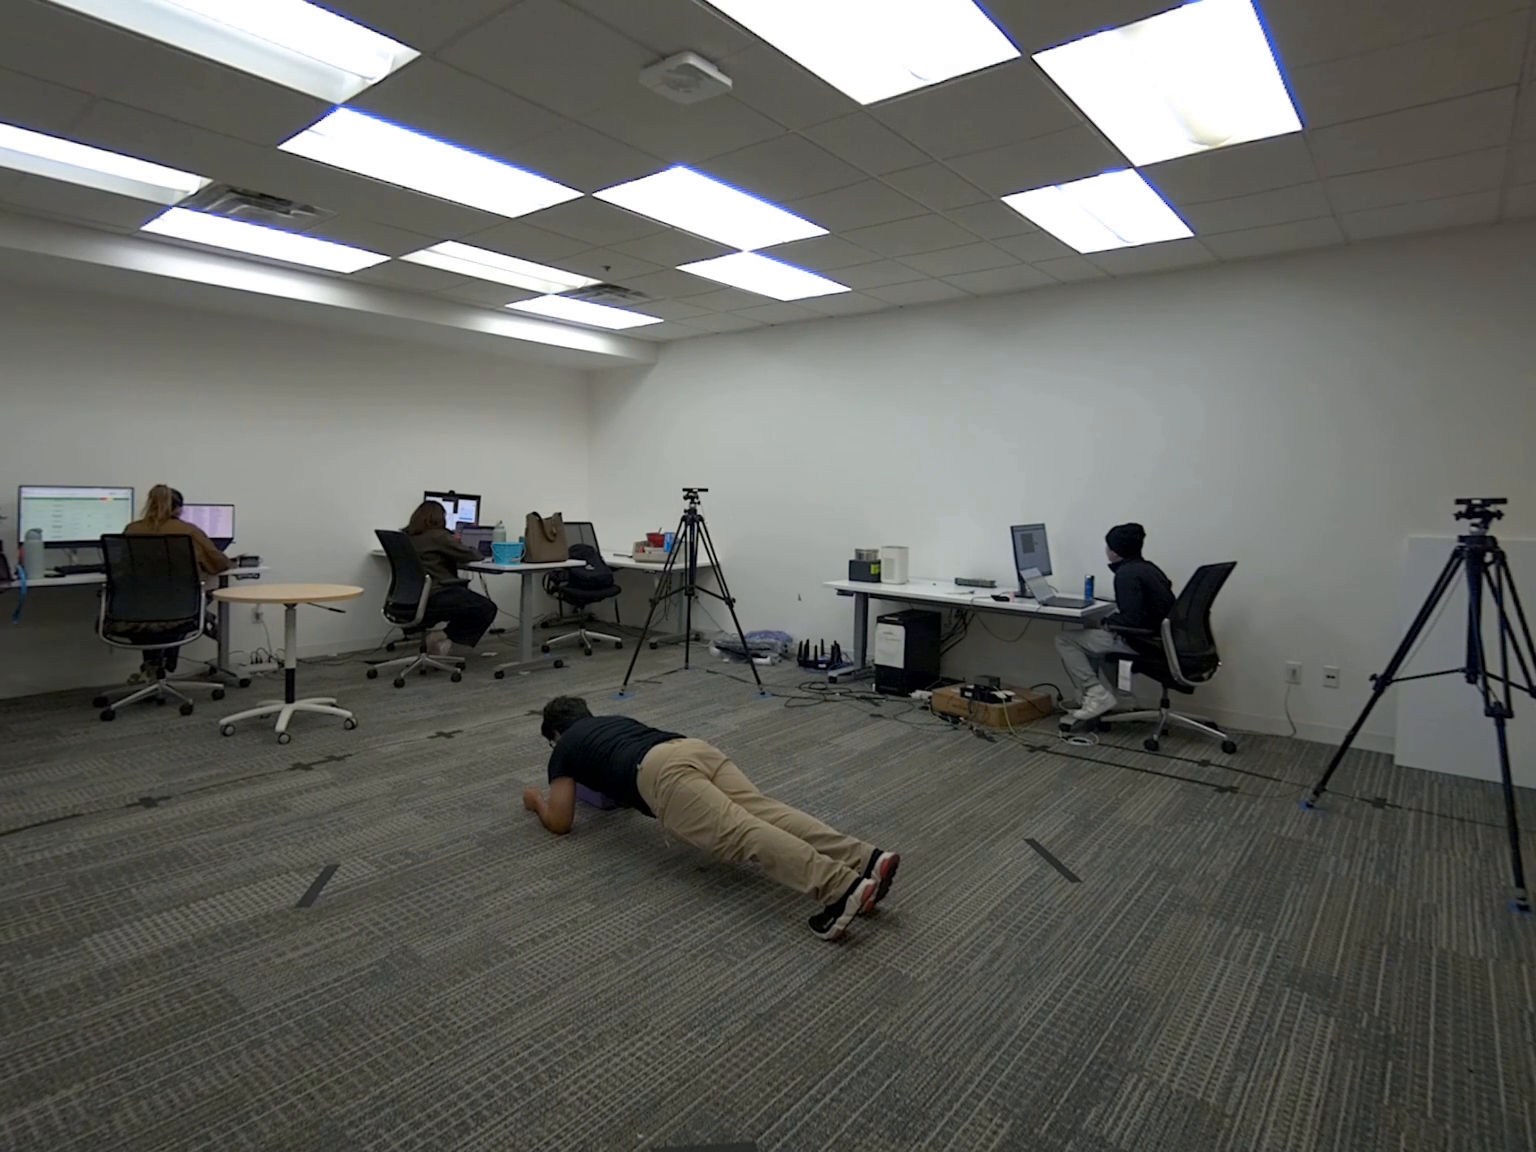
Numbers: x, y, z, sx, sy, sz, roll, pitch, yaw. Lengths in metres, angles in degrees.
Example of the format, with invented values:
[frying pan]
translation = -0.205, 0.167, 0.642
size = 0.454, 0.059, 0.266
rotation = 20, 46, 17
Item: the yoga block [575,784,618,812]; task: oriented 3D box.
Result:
[yoga block]
translation = -0.778, 0.920, 3.761
size = 0.074, 0.148, 0.237
rotation = -8, 7, -43
